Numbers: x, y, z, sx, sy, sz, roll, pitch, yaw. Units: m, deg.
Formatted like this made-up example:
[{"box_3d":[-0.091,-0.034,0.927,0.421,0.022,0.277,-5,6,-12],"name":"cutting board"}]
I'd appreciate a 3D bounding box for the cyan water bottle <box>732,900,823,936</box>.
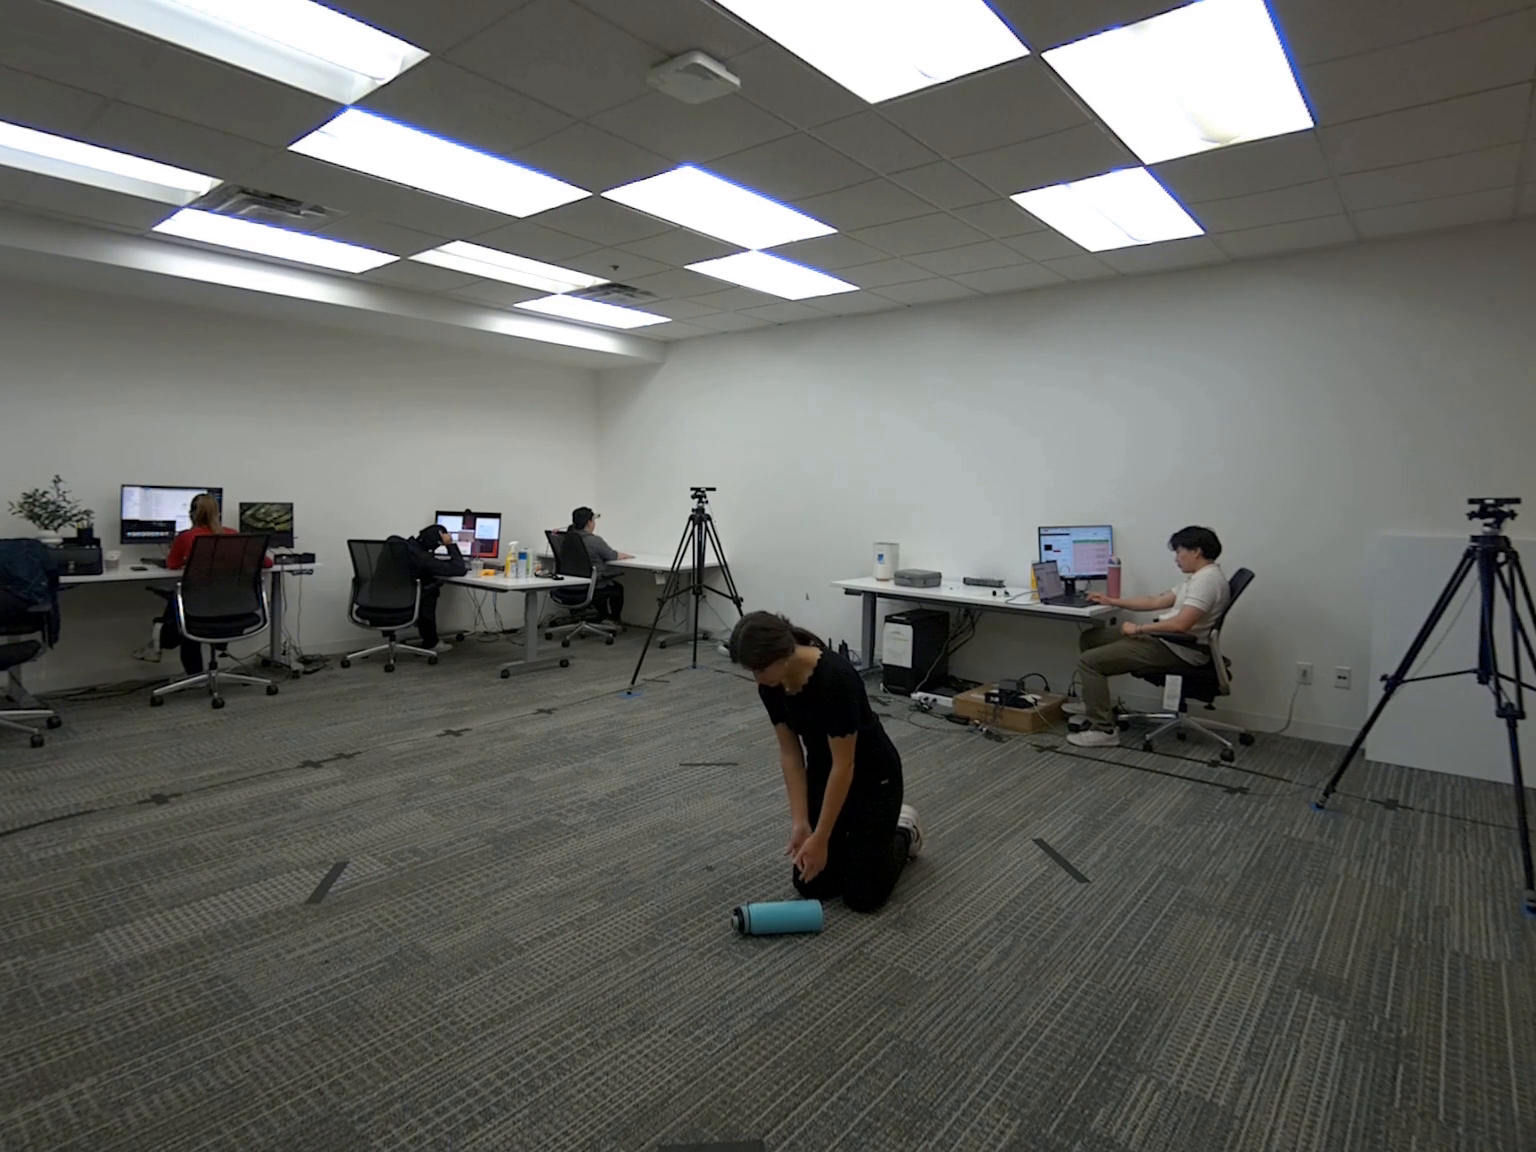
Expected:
[{"box_3d":[0.018,1.066,2.672,0.281,0.092,0.093,0,4,-8],"name":"cyan water bottle"}]
